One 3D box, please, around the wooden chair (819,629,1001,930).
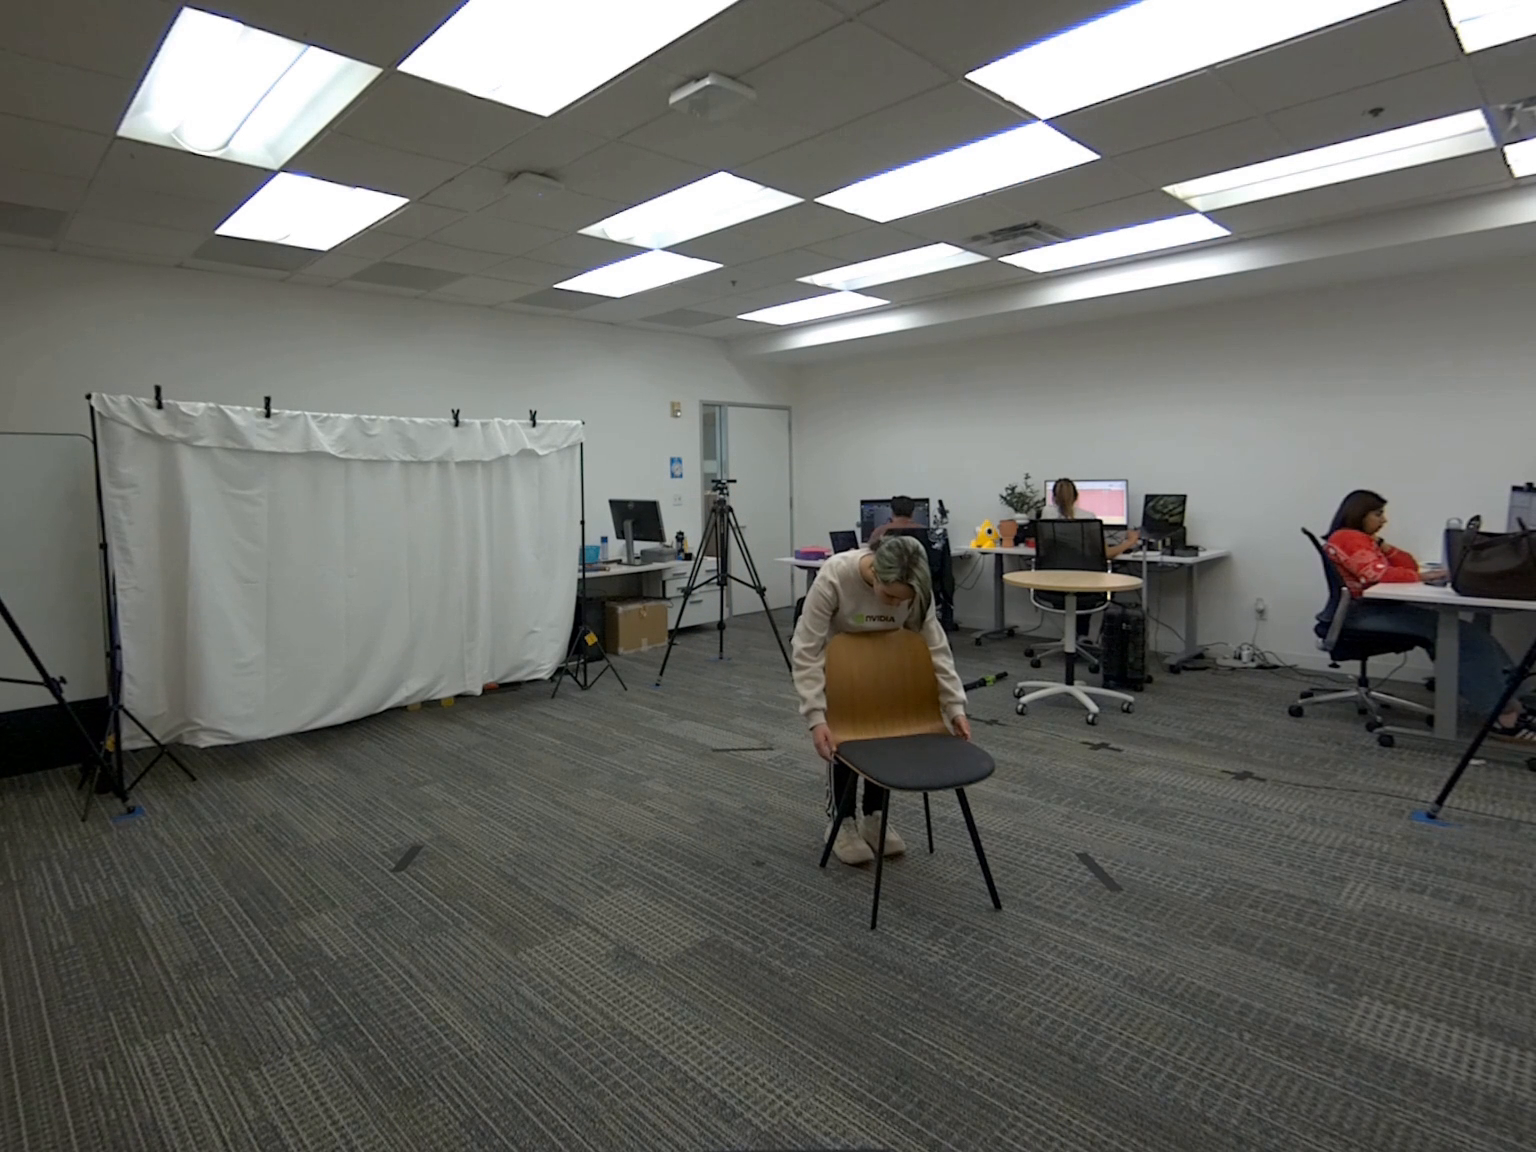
[{"bbox_3d":[0.467,0.639,2.859,0.471,0.878,0.531,-2,0,-16],"label":"wooden chair"}]
